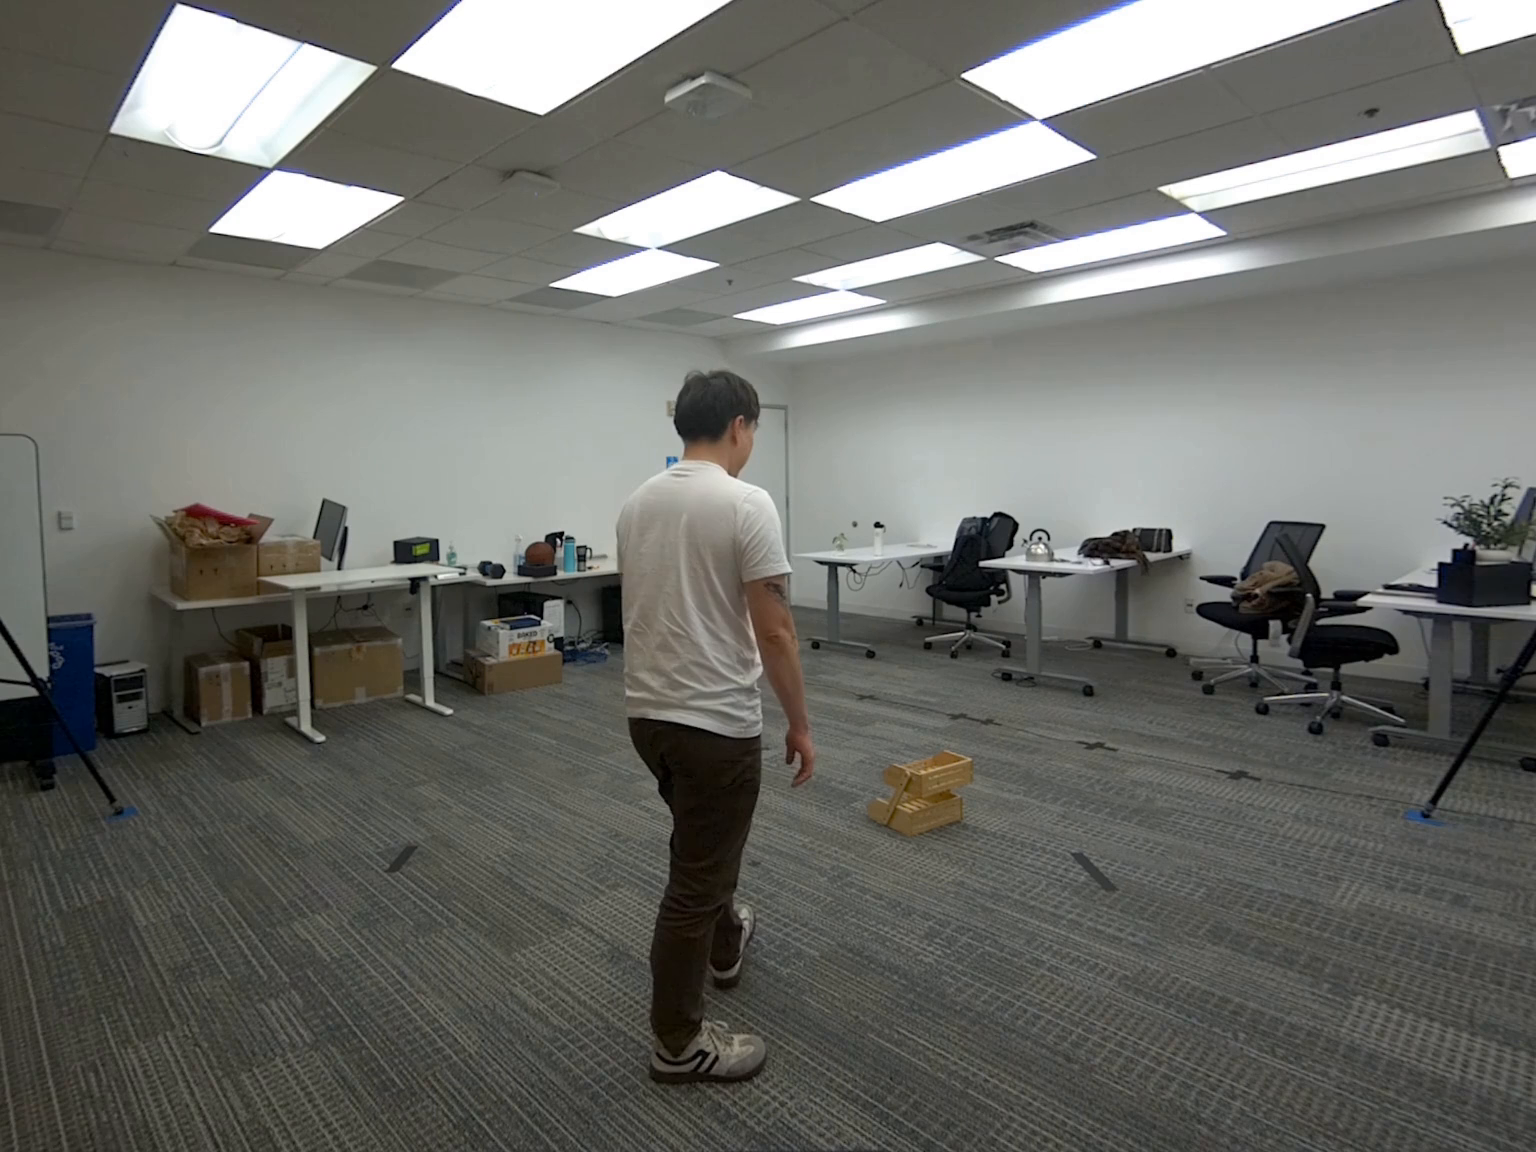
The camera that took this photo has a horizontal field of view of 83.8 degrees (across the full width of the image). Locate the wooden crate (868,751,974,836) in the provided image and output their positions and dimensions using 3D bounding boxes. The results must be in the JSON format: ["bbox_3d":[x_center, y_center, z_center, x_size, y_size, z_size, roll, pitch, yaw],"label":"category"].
[{"bbox_3d":[0.613,0.859,3.474,0.316,0.272,0.311,-5,7,-36],"label":"wooden crate"}]
